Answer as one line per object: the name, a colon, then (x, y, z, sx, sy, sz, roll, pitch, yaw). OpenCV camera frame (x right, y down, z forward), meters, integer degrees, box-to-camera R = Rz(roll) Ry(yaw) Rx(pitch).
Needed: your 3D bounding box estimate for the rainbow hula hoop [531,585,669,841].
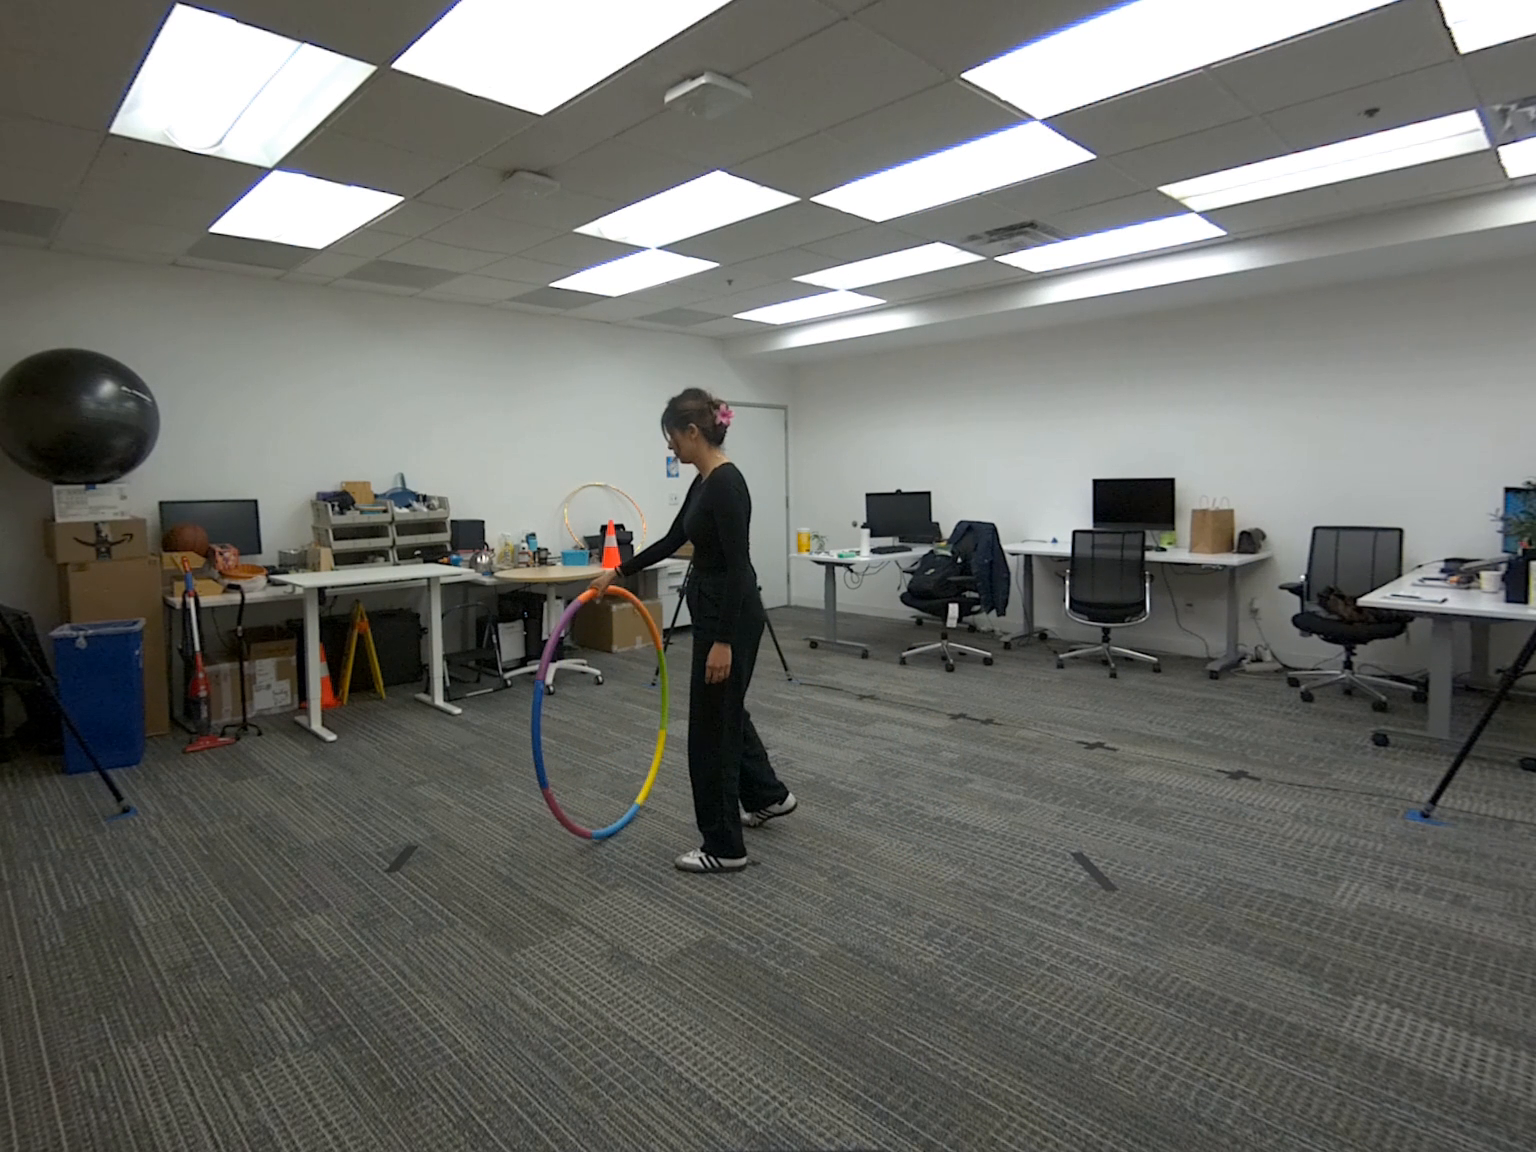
rainbow hula hoop: (-0.623, 0.529, 3.417, 0.036, 0.976, 0.962, -3, 3, 21)
